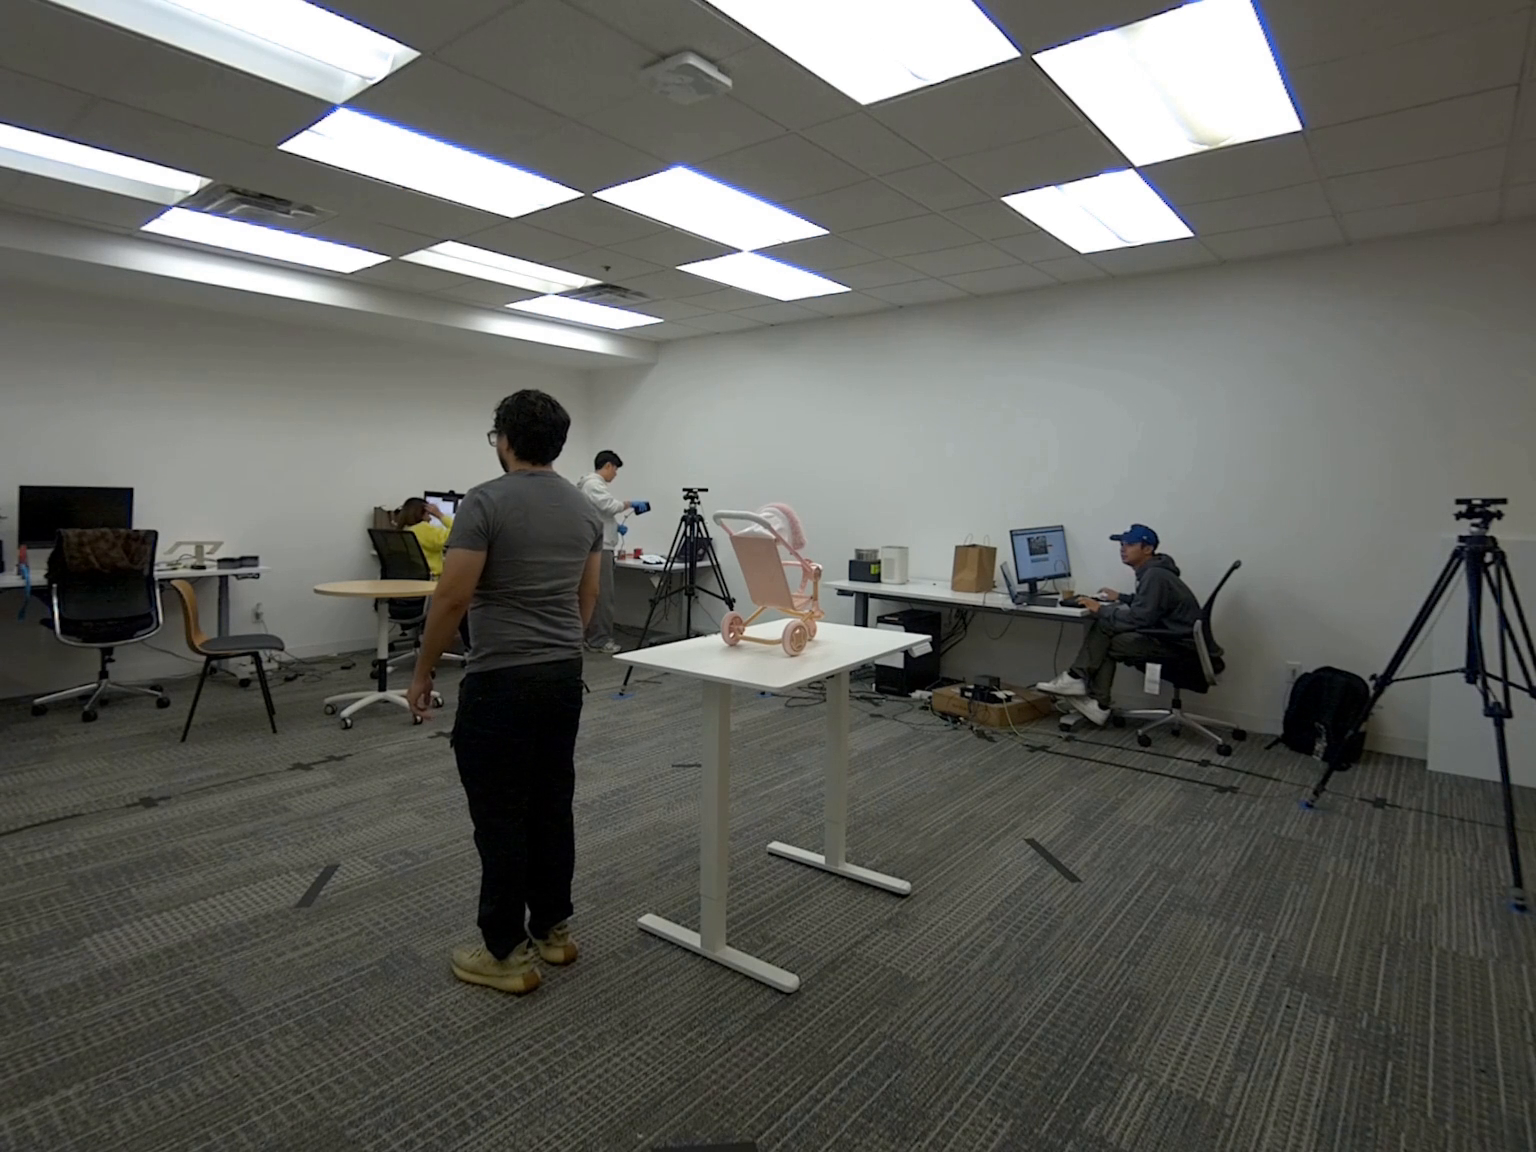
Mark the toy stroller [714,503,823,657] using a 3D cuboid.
[{"bbox_3d":[0.020,0.004,2.722,0.291,0.527,0.335,5,20,44],"label":"toy stroller"}]
